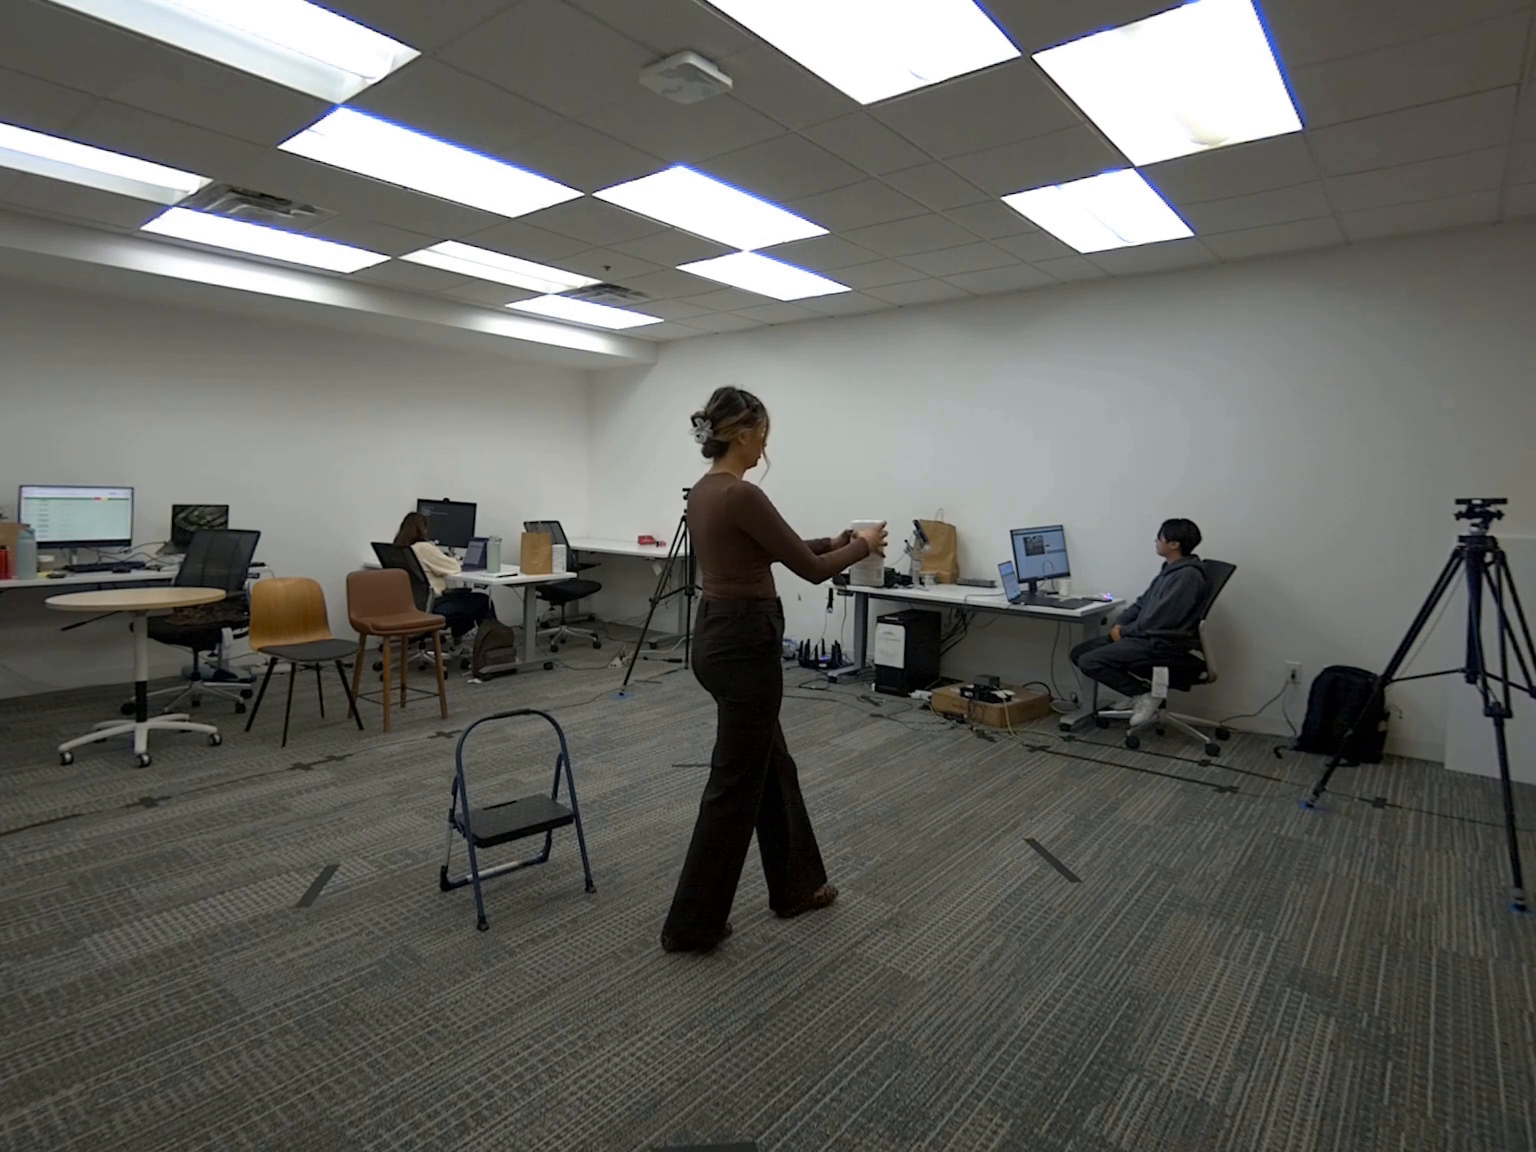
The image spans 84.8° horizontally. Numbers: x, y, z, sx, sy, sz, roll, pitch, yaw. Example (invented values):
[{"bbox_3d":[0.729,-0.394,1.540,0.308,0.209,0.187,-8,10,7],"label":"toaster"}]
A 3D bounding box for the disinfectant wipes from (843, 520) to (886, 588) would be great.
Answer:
[{"bbox_3d":[0.318,-0.077,2.792,0.118,0.217,0.118,0,1,-2],"label":"disinfectant wipes"}]
